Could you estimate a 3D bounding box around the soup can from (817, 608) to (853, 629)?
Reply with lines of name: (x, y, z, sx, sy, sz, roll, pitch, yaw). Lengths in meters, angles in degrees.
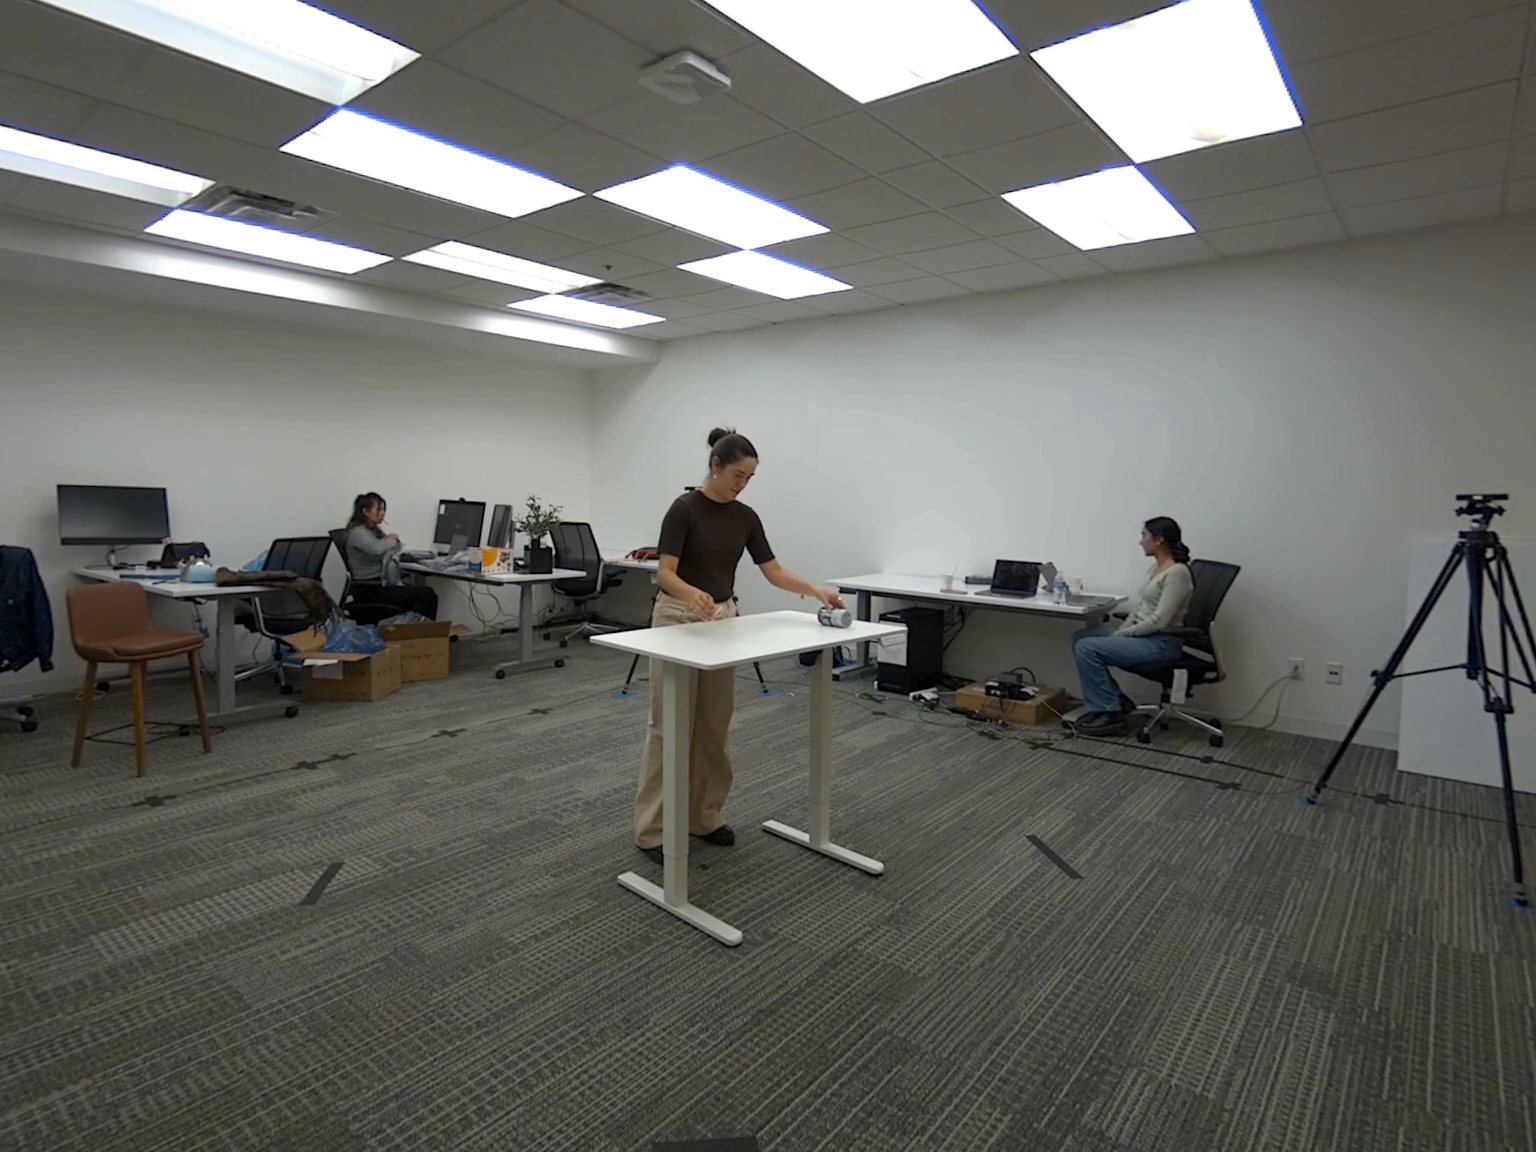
soup can: (0.238, 0.152, 3.148, 0.065, 0.067, 0.125, -3, 6, -39)
